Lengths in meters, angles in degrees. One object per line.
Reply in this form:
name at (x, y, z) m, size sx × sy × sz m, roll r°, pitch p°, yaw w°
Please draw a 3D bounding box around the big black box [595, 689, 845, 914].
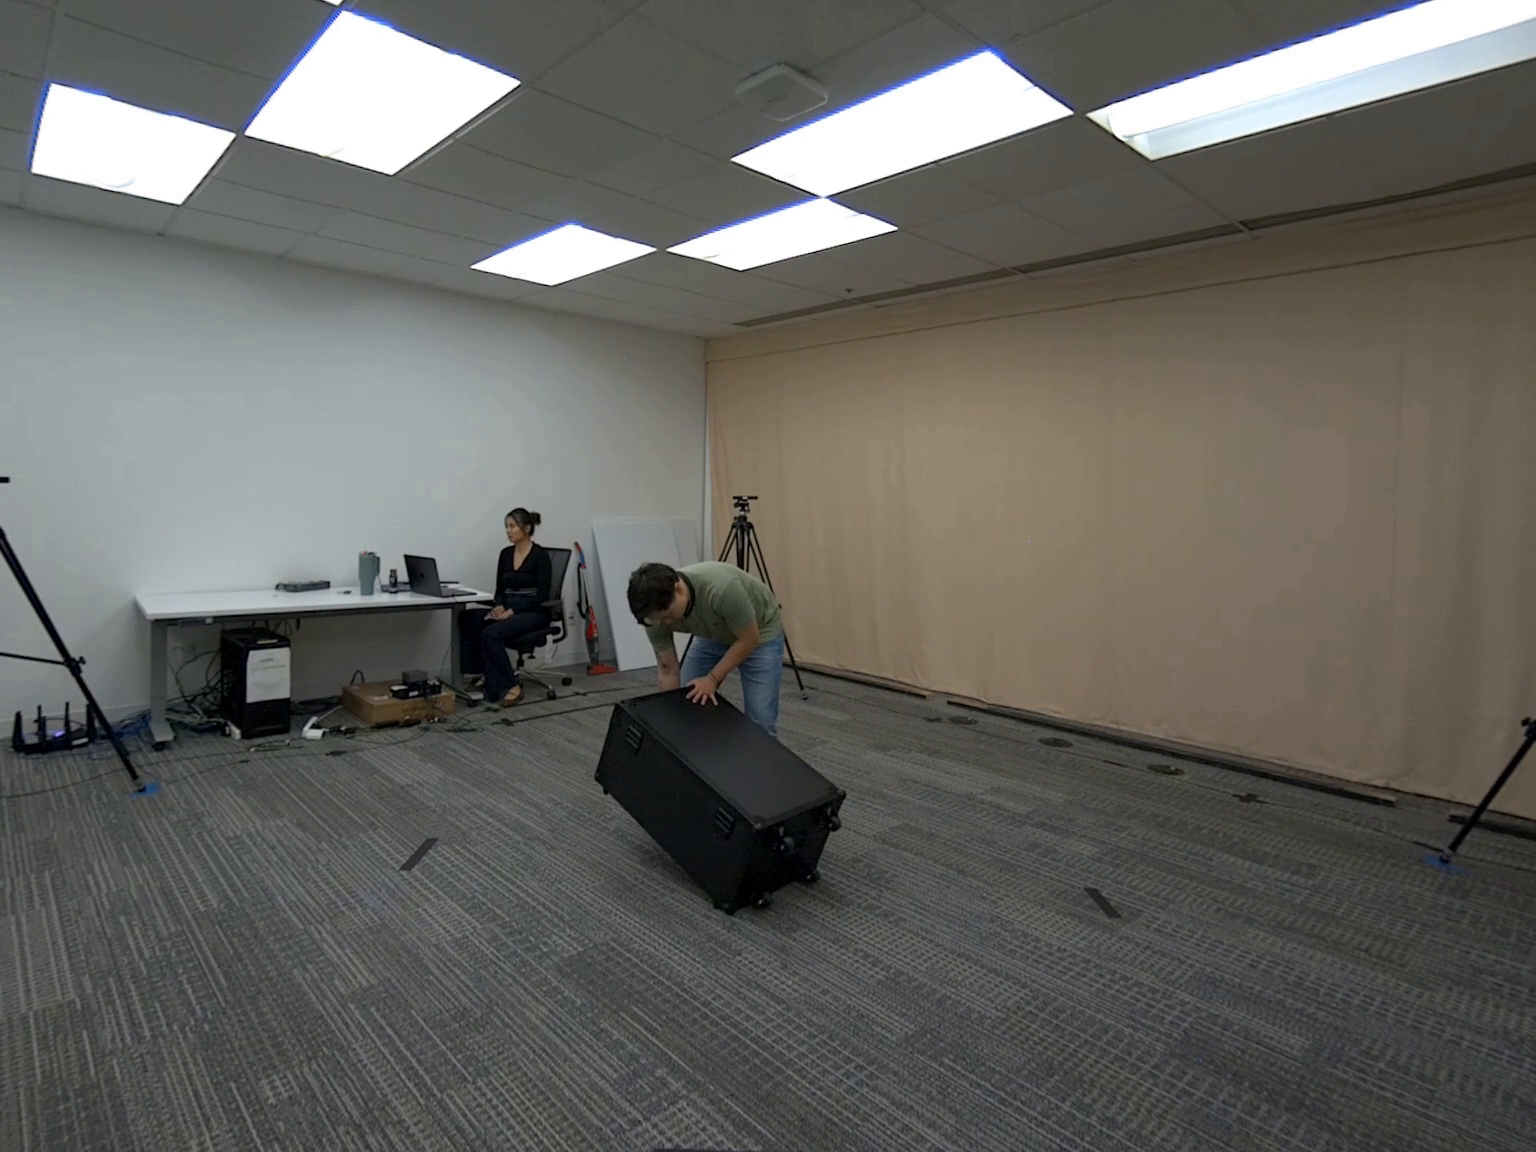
big black box at (-0.188, 0.817, 3.127) m, size 0.887 × 0.393 × 0.510 m, roll 30°, pitch 21°, yaw 35°
